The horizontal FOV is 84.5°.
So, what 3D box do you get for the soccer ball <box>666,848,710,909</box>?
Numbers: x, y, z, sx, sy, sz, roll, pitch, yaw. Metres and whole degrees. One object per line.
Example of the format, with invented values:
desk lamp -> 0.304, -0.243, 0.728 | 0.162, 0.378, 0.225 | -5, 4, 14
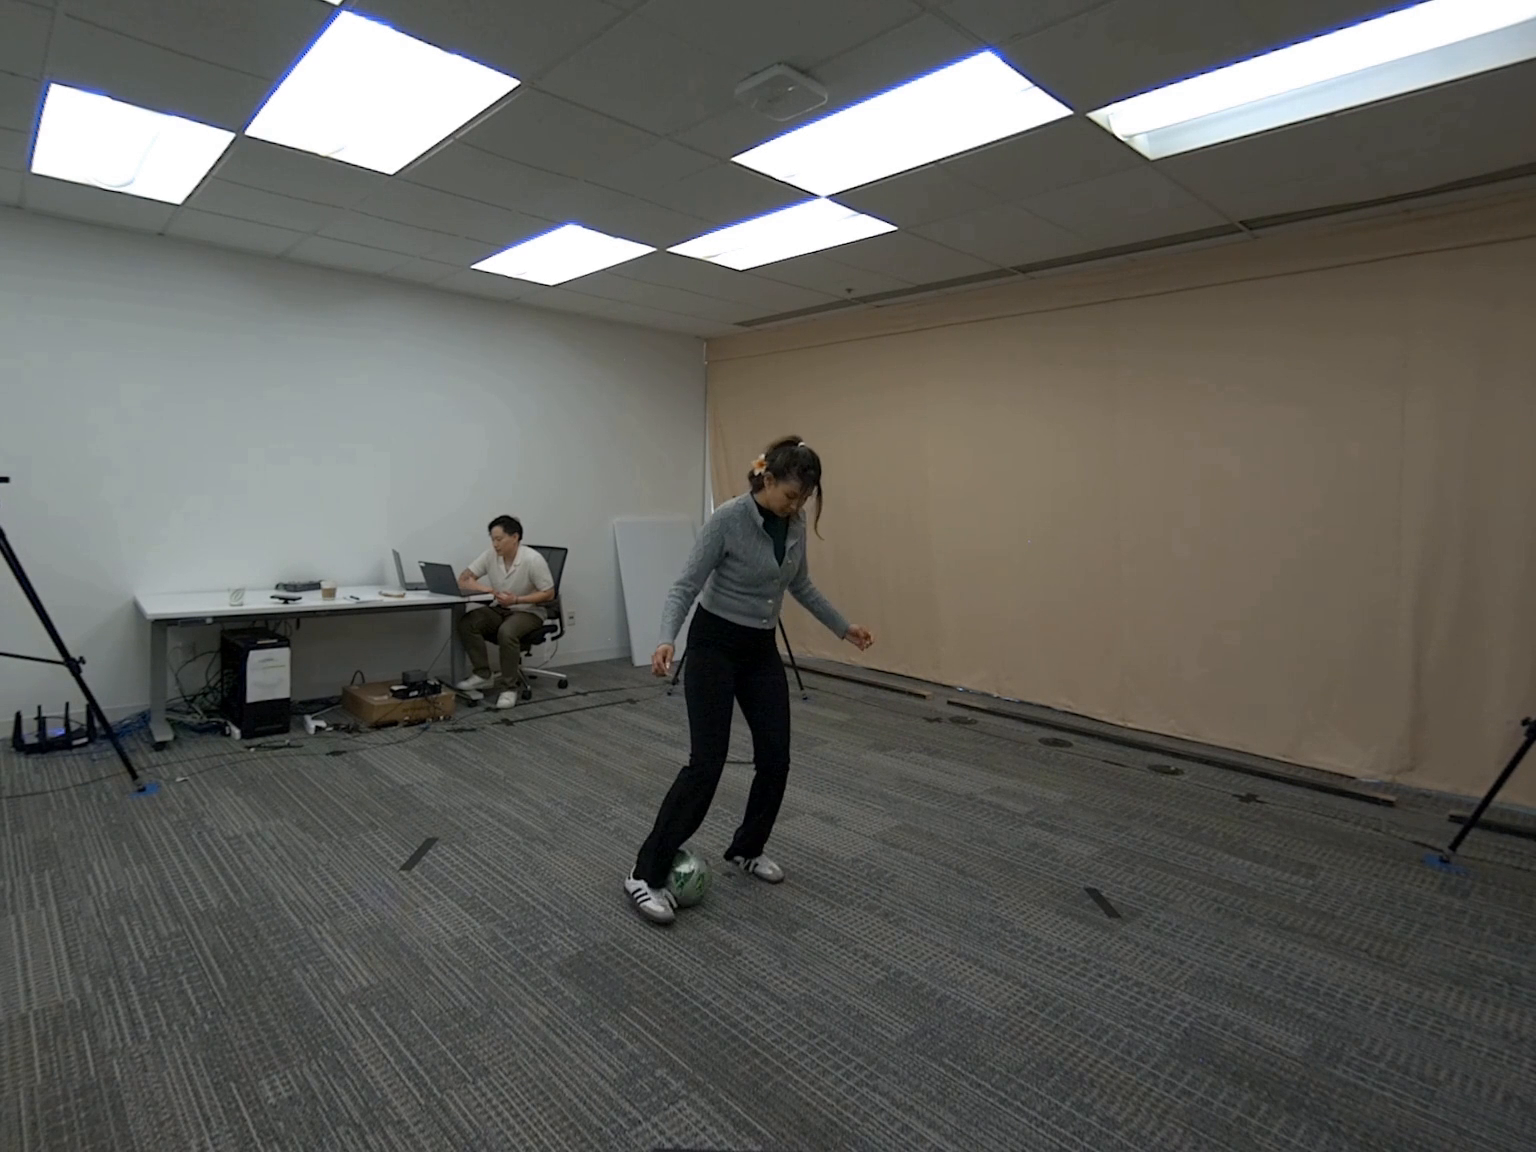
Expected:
soccer ball -> -0.246, 1.025, 2.900 | 0.187, 0.187, 0.188 | 1, 4, -1
